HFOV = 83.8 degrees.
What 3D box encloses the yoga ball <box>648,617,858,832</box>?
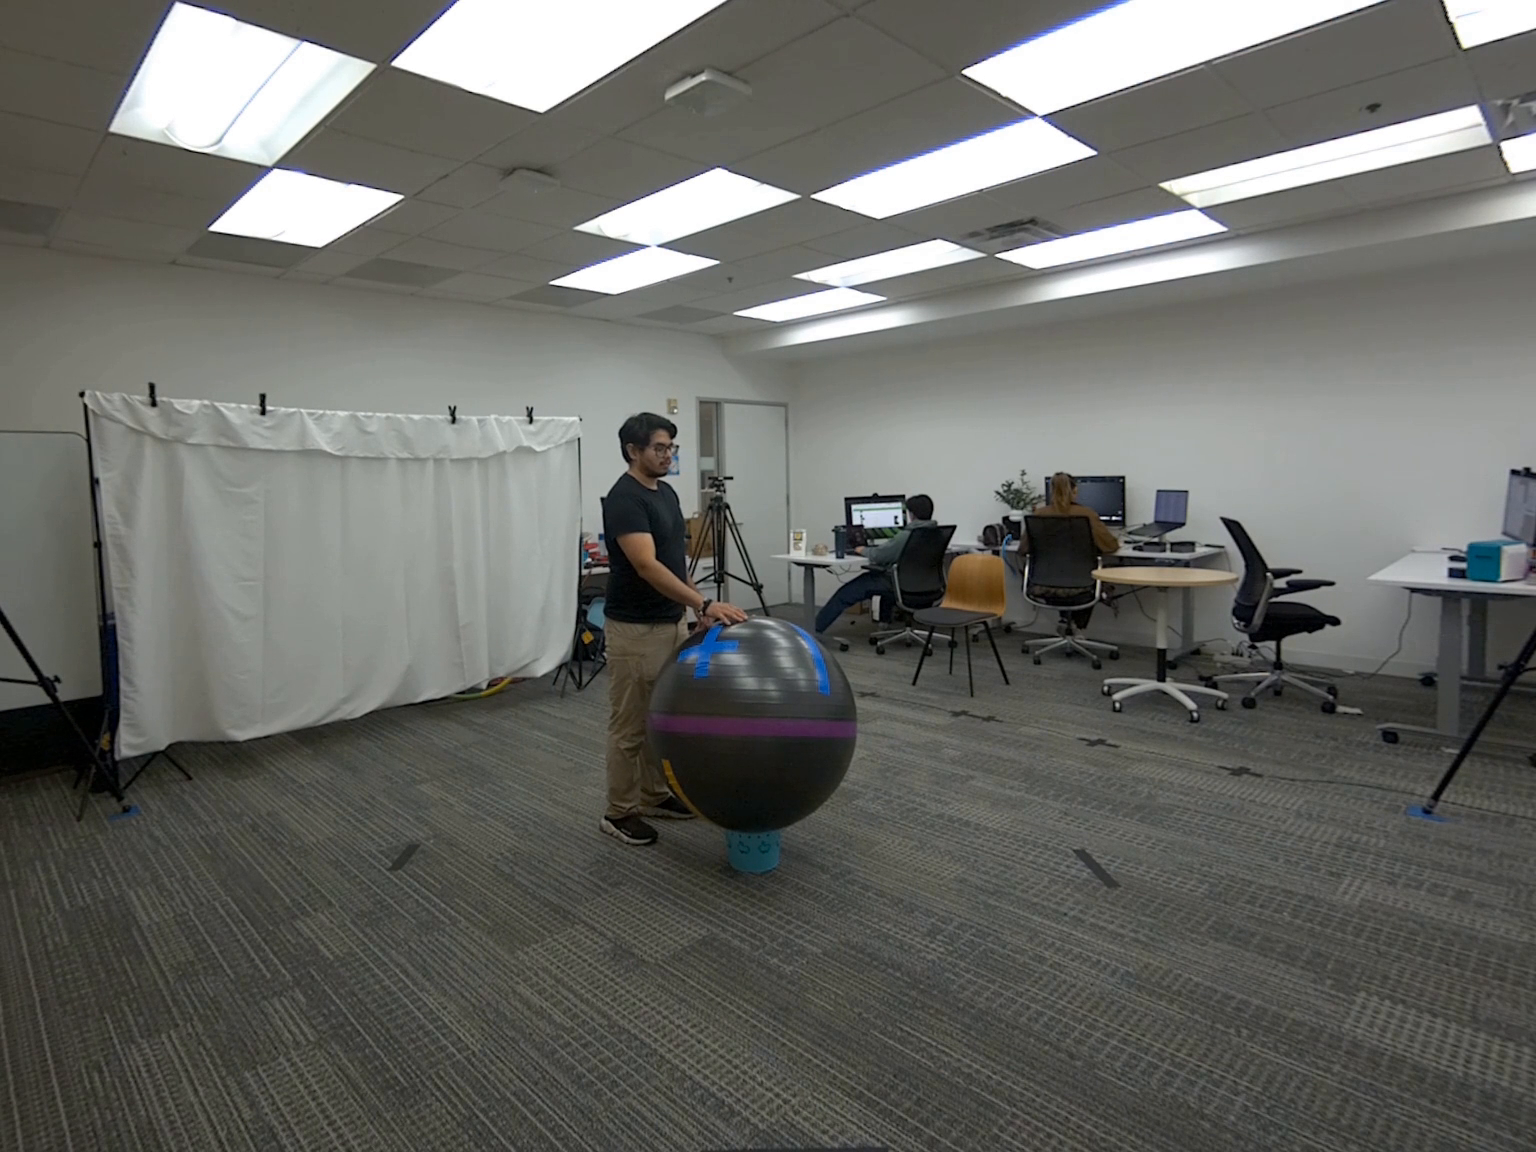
[{"bbox_3d":[-0.057,0.528,3.098,0.757,0.755,0.762,-1,5,-2],"label":"yoga ball"}]
